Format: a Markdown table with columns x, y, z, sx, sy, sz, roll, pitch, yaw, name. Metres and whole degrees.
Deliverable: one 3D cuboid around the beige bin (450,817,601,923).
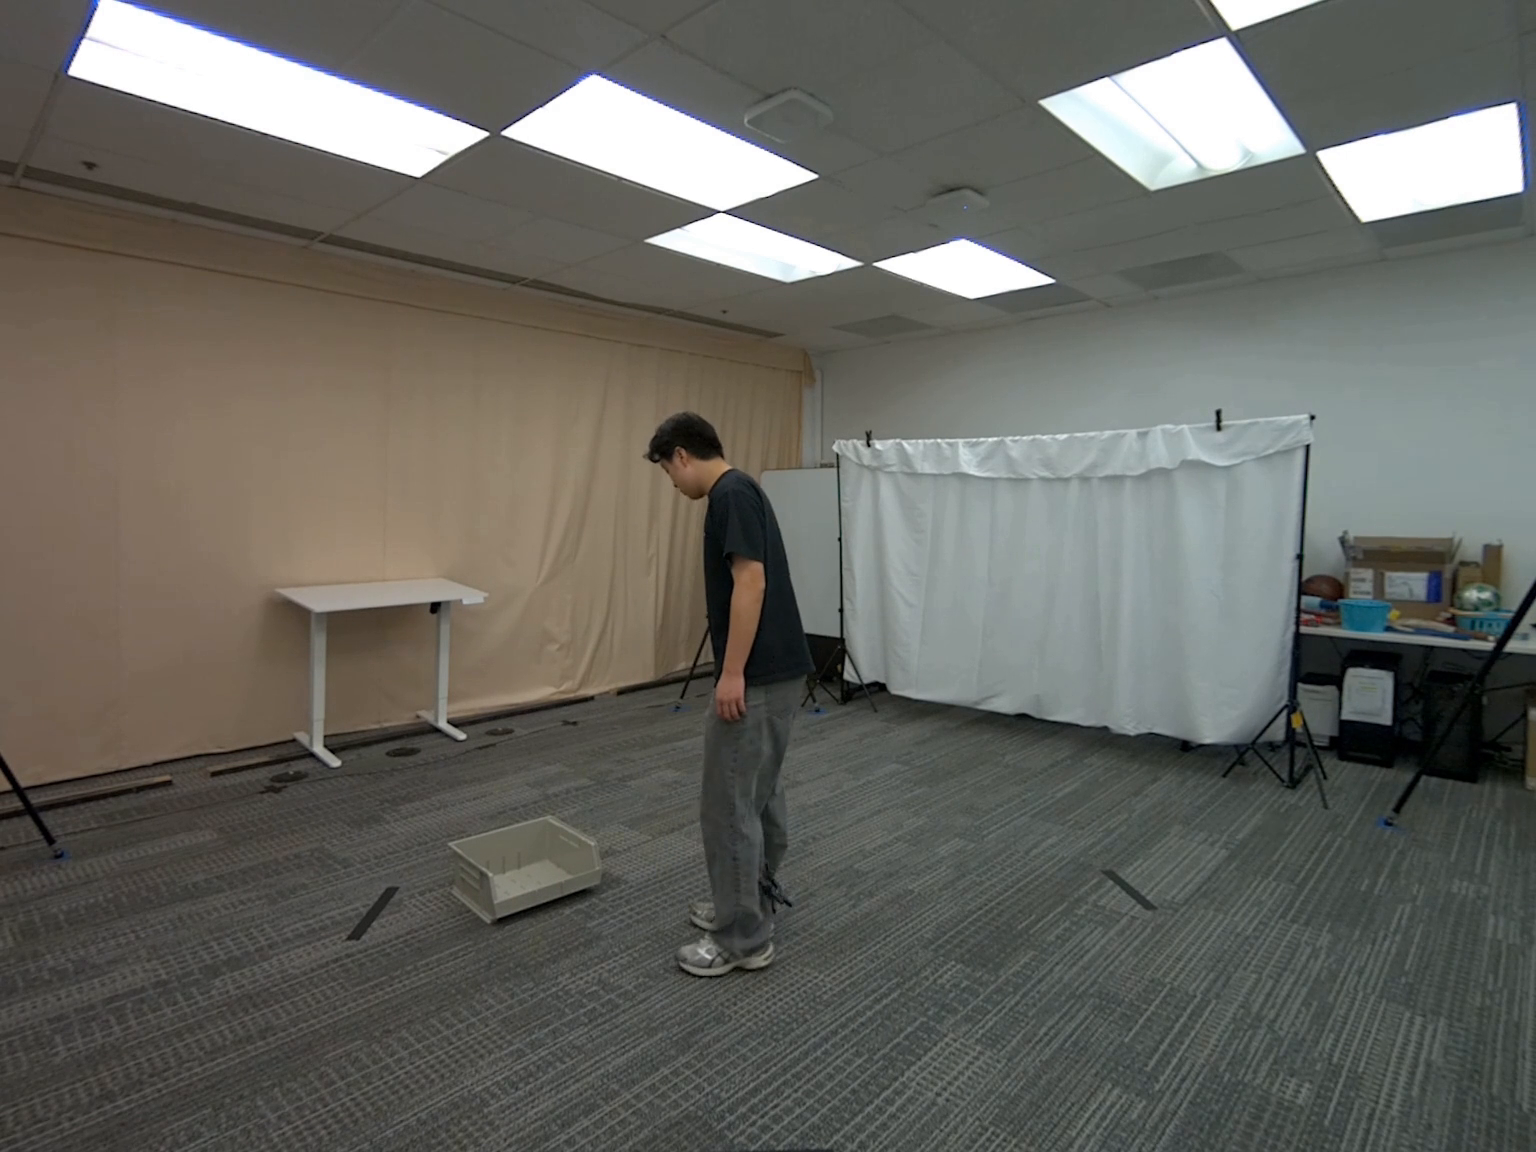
| x | y | z | sx | sy | sz | roll | pitch | yaw | name |
| --- | --- | --- | --- | --- | --- | --- | --- | --- | --- |
| -0.880 | 1.058 | 3.046 | 0.409 | 0.188 | 0.390 | -5 | 5 | -42 | beige bin |
